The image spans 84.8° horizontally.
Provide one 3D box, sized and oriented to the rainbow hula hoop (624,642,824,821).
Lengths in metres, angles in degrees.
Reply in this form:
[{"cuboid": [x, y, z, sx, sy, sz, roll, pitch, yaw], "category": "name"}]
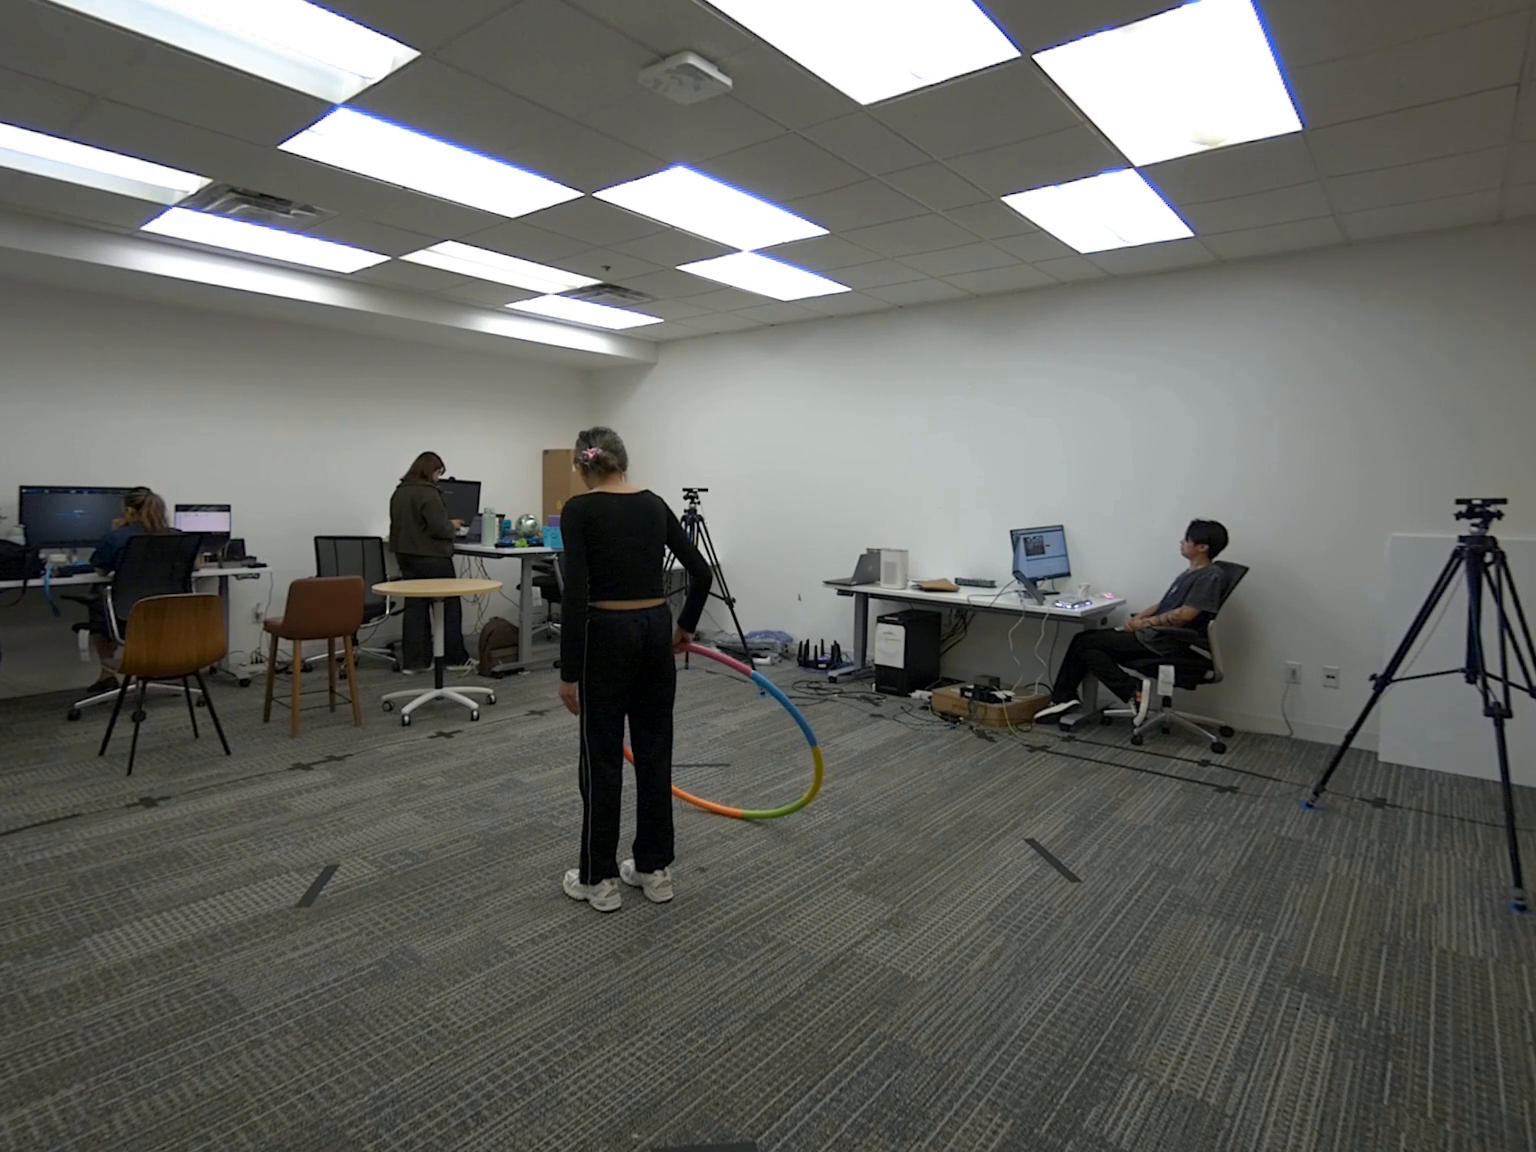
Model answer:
[{"cuboid": [-0.263, 0.625, 3.369, 1.005, 0.946, 0.036, 3, 38, 27], "category": "rainbow hula hoop"}]
